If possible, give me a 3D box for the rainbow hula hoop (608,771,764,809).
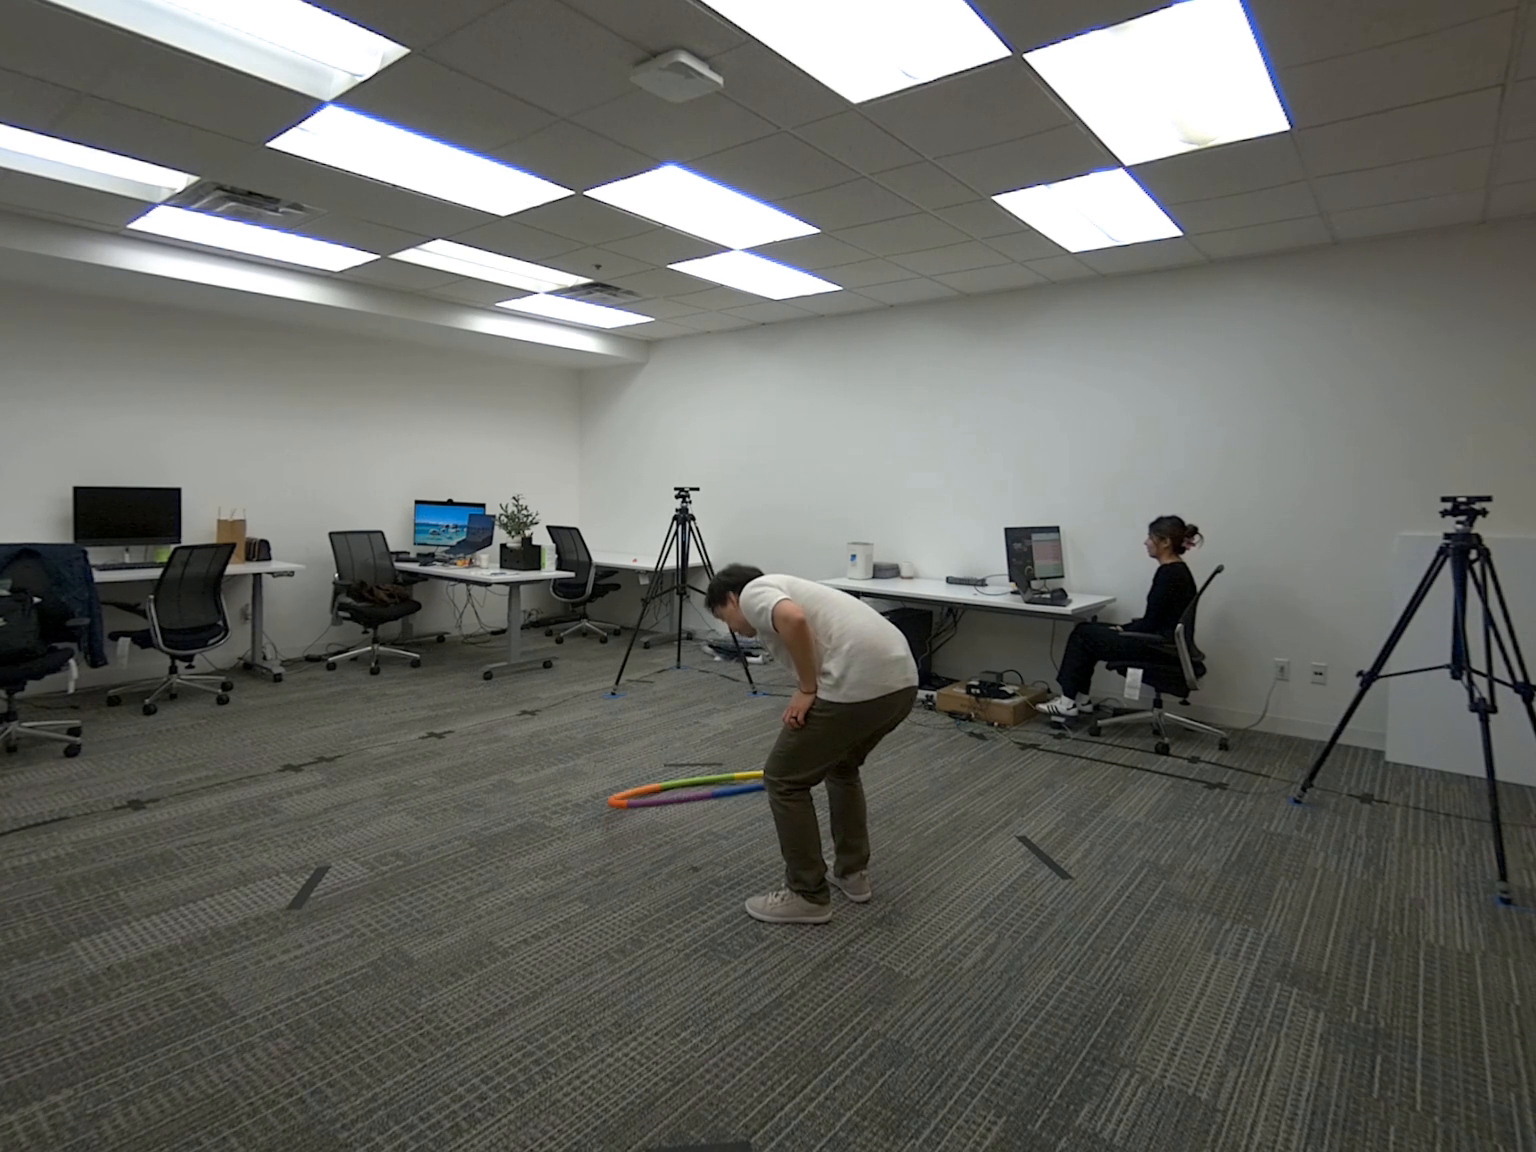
[{"bbox_3d":[-0.206,0.855,3.548,0.976,0.036,0.969,-7,-9,-3],"label":"rainbow hula hoop"}]
